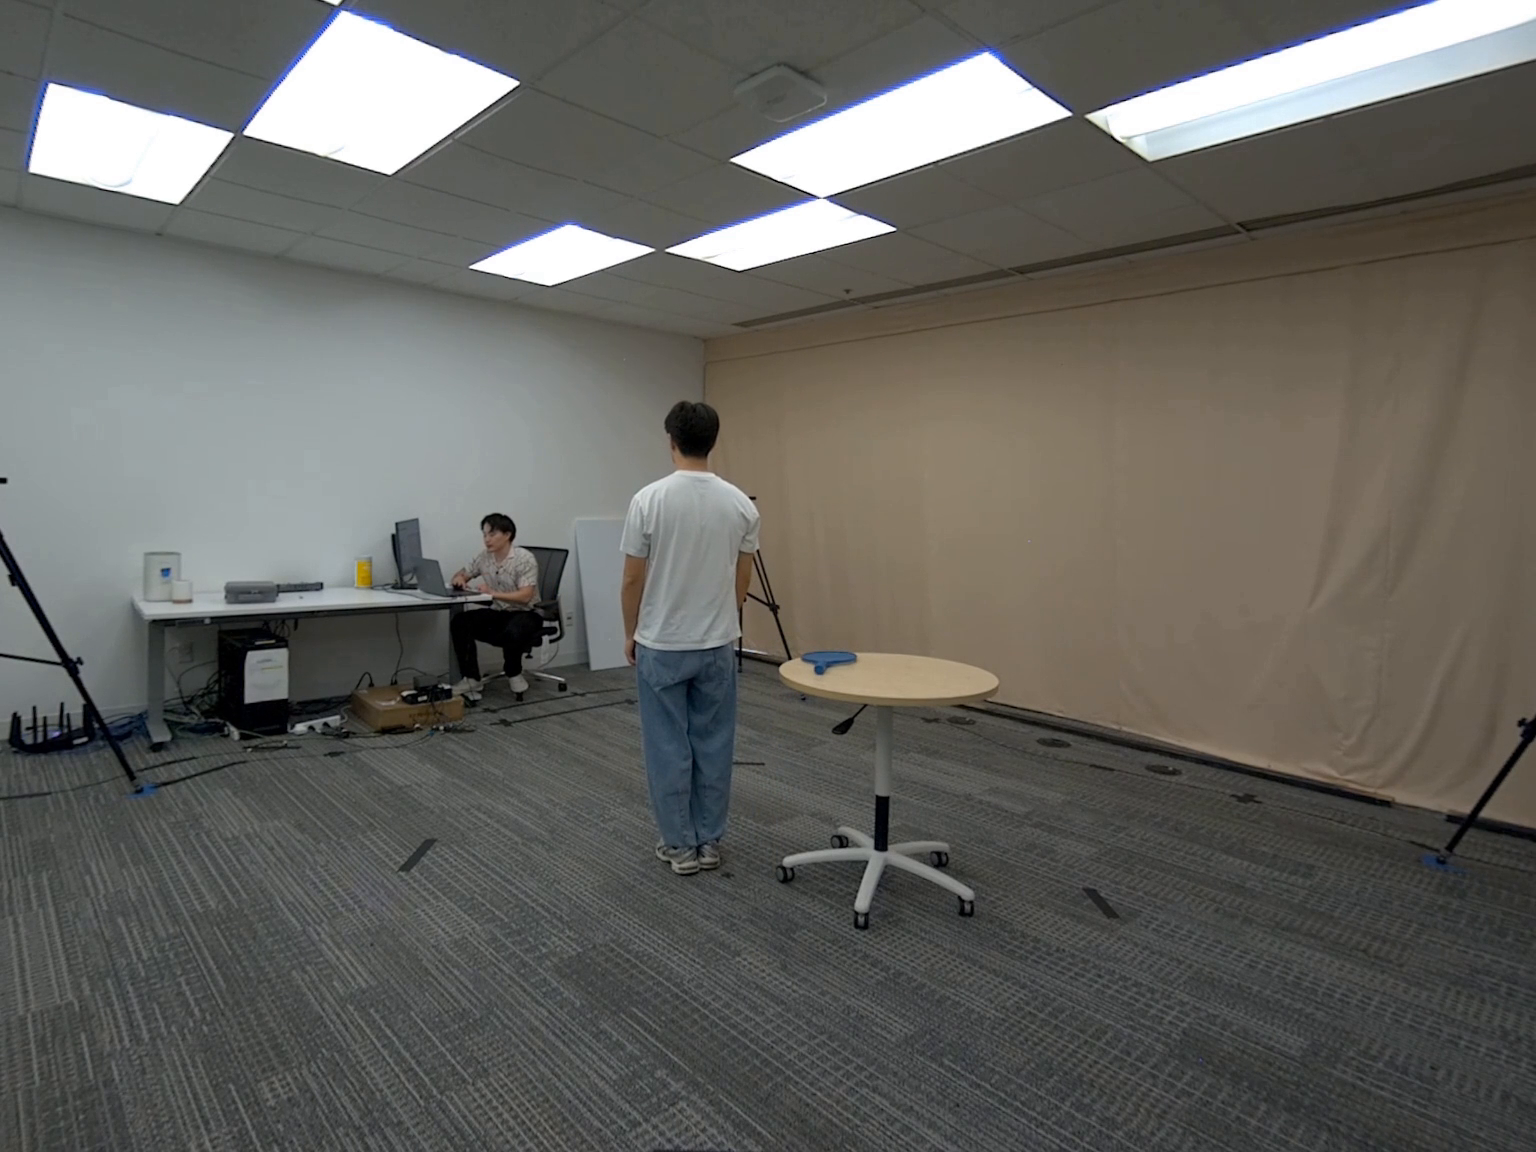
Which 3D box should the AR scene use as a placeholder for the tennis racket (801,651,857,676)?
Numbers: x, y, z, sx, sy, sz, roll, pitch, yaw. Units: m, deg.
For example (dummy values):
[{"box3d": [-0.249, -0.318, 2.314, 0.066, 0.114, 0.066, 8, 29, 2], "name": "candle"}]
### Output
[{"box3d": [0.209, 0.317, 3.140, 0.215, 0.032, 0.430, 0, 3, 9], "name": "tennis racket"}]
